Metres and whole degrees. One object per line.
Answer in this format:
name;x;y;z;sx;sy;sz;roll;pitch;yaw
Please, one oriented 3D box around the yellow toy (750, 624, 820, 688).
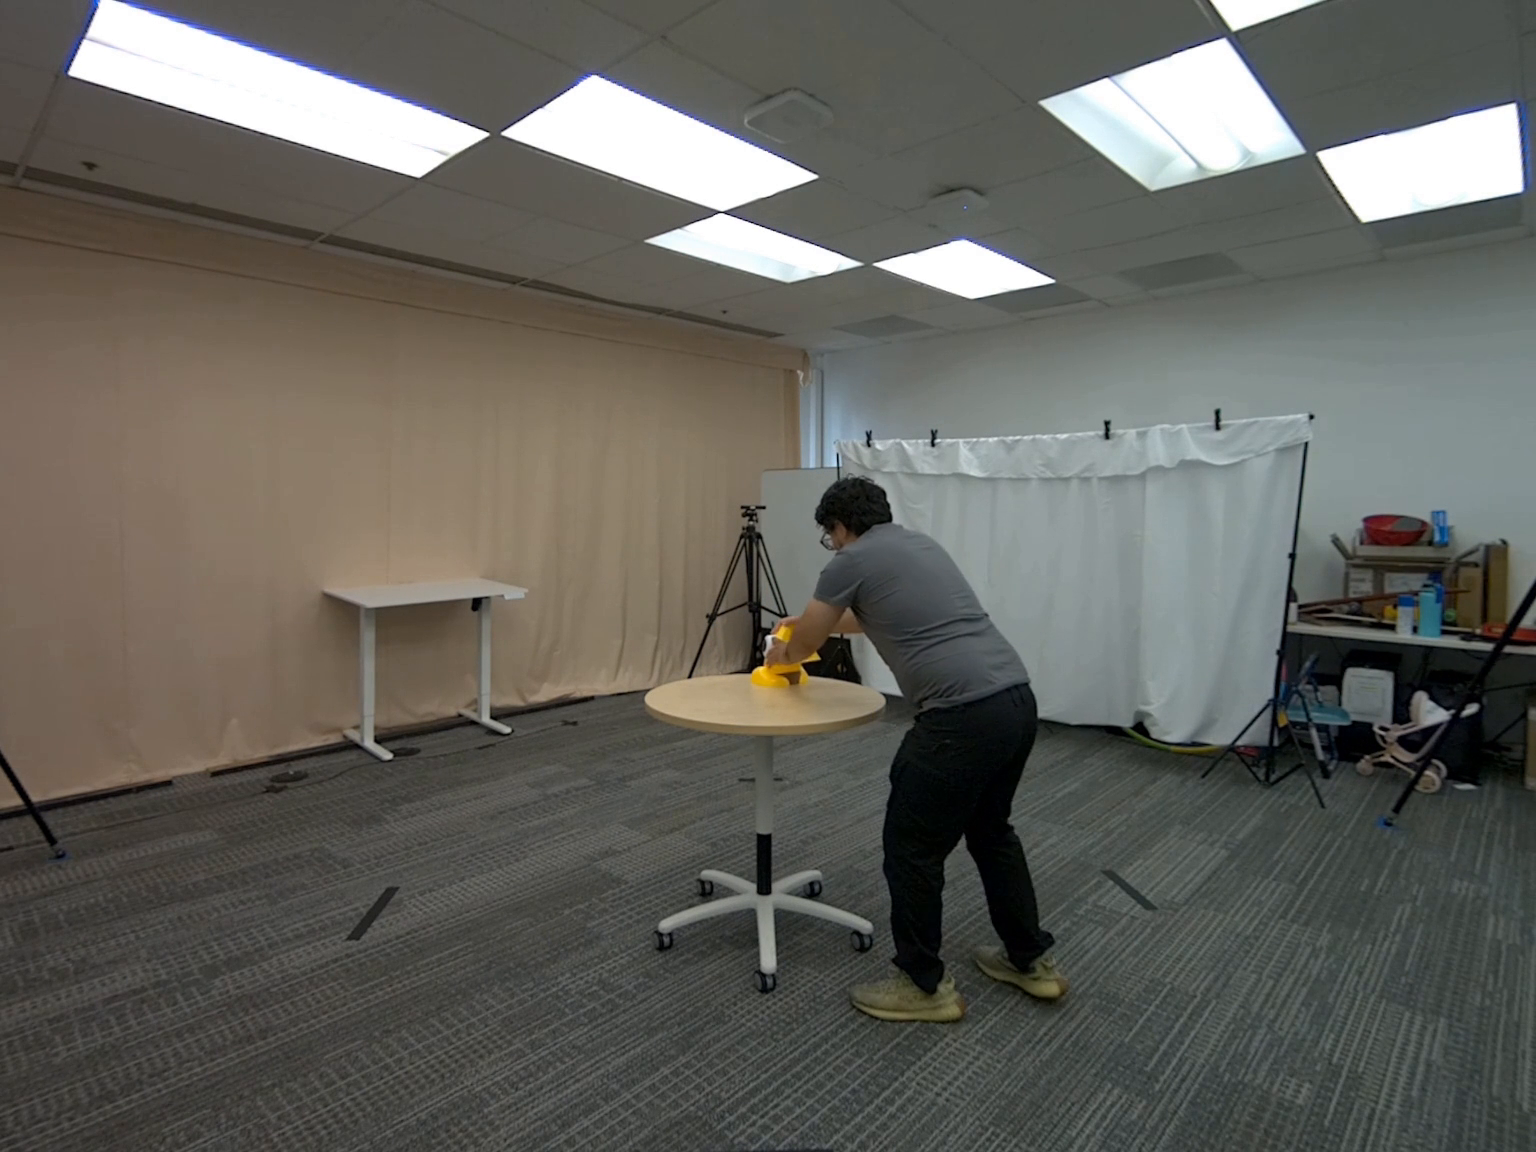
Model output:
yellow toy;0.052;0.260;2.942;0.198;0.230;0.199;-2;4;-38
